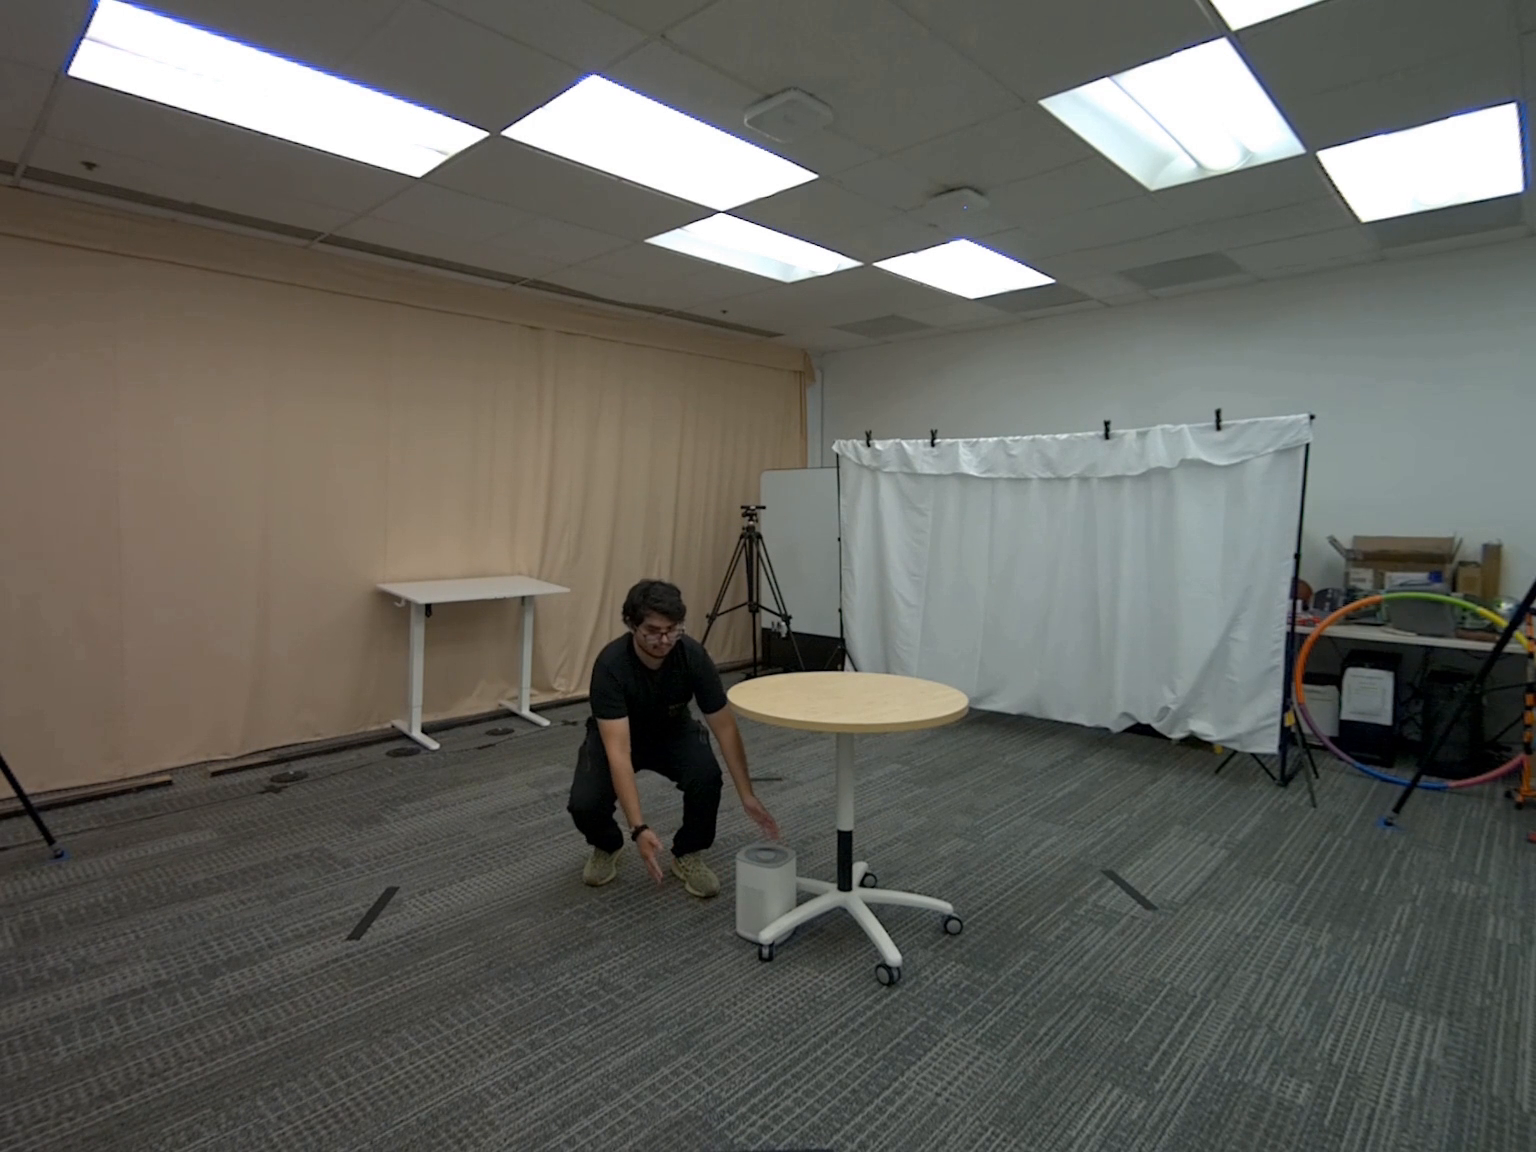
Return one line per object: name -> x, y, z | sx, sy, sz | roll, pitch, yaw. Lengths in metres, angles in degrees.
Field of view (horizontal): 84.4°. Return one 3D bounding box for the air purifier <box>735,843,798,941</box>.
air purifier -> -0.006, 1.032, 2.729 | 0.177, 0.265, 0.166 | 5, 5, 33
